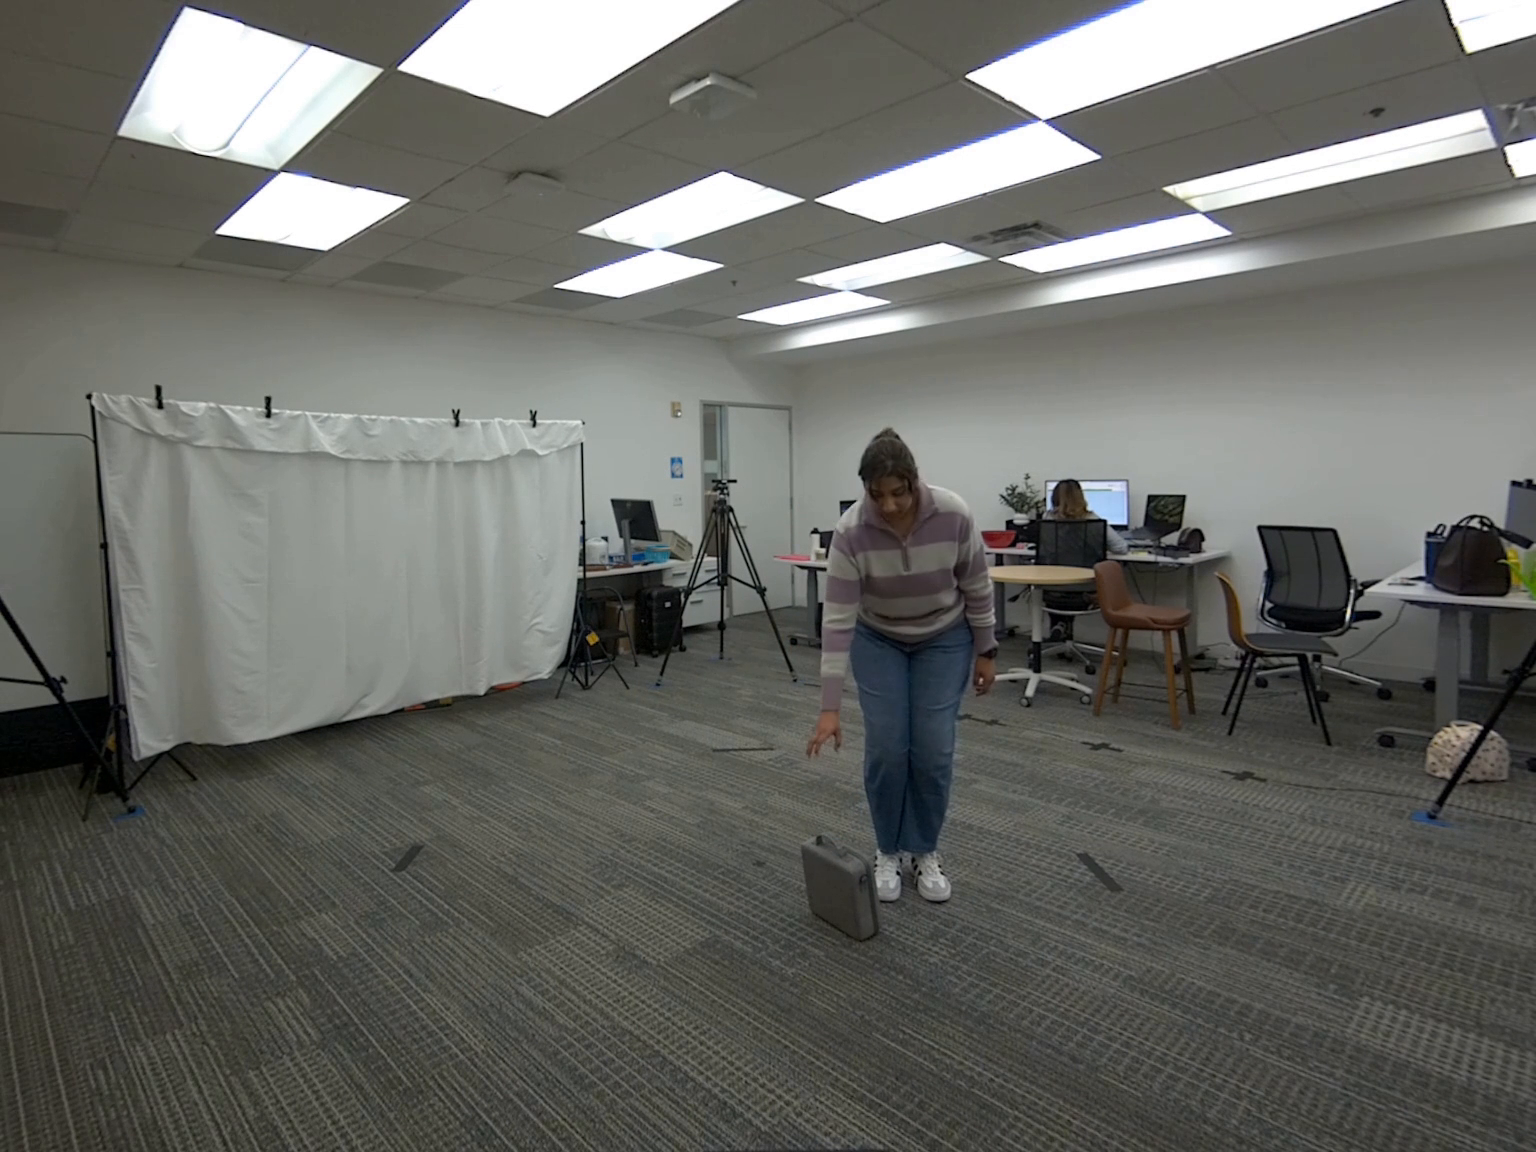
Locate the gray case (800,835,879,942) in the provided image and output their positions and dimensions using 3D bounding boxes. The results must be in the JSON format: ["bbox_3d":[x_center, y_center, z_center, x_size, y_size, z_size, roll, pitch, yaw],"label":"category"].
[{"bbox_3d":[0.233,0.962,2.660,0.102,0.258,0.264,-14,11,-33],"label":"gray case"}]
